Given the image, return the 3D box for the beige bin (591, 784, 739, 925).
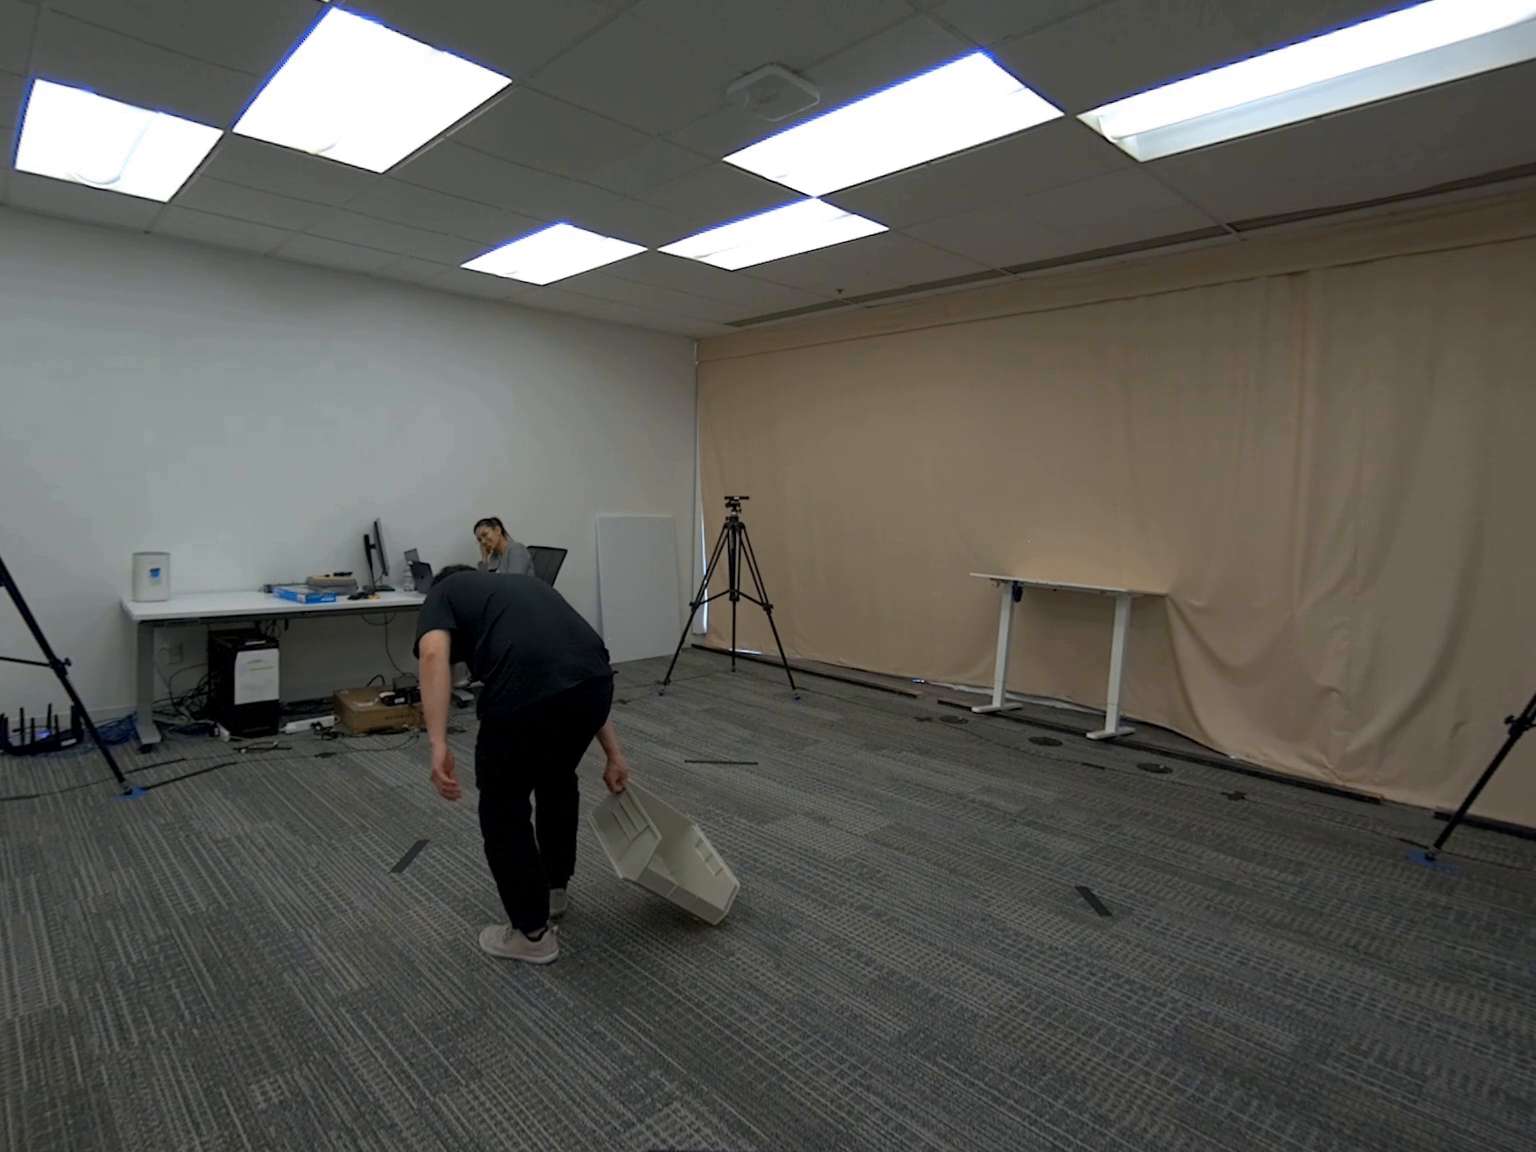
[{"bbox_3d":[-0.346,0.910,2.754,0.409,0.189,0.389,43,-5,-37],"label":"beige bin"}]
